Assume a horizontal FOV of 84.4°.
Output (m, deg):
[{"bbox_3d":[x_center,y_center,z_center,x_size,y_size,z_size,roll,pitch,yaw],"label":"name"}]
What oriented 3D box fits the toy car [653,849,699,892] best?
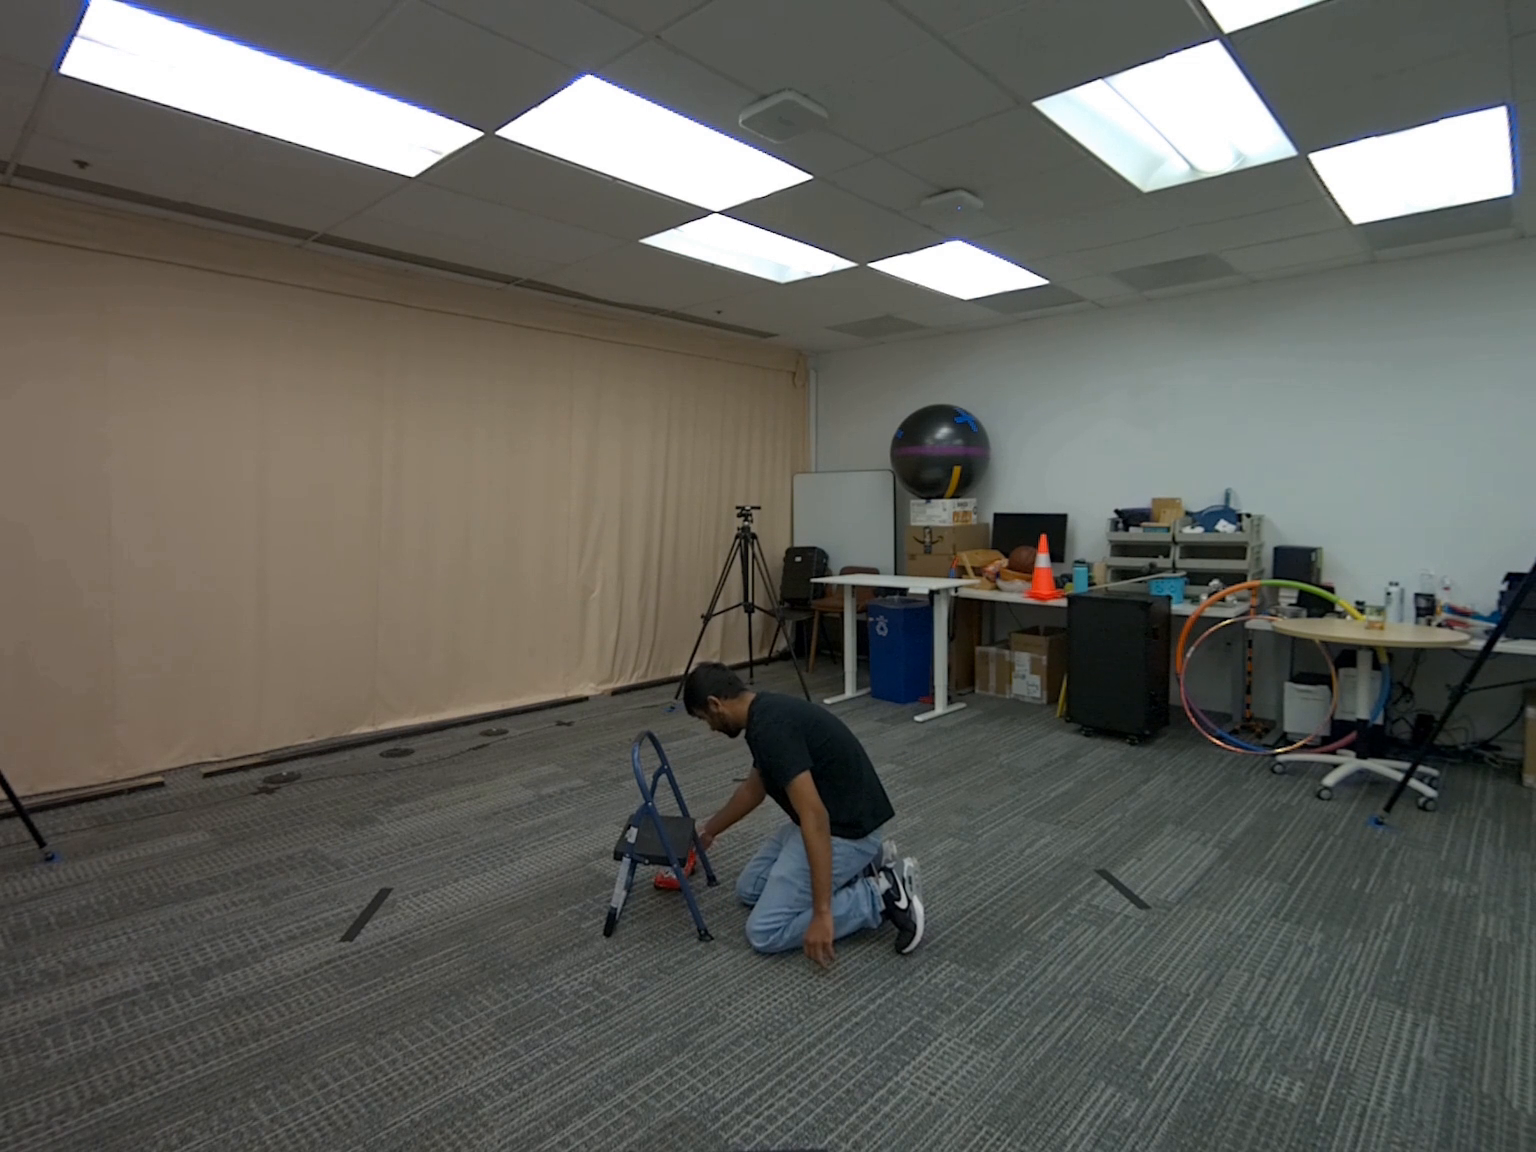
[{"bbox_3d":[-0.346,1.100,3.164,0.132,0.082,0.254,0,16,9],"label":"toy car"}]
